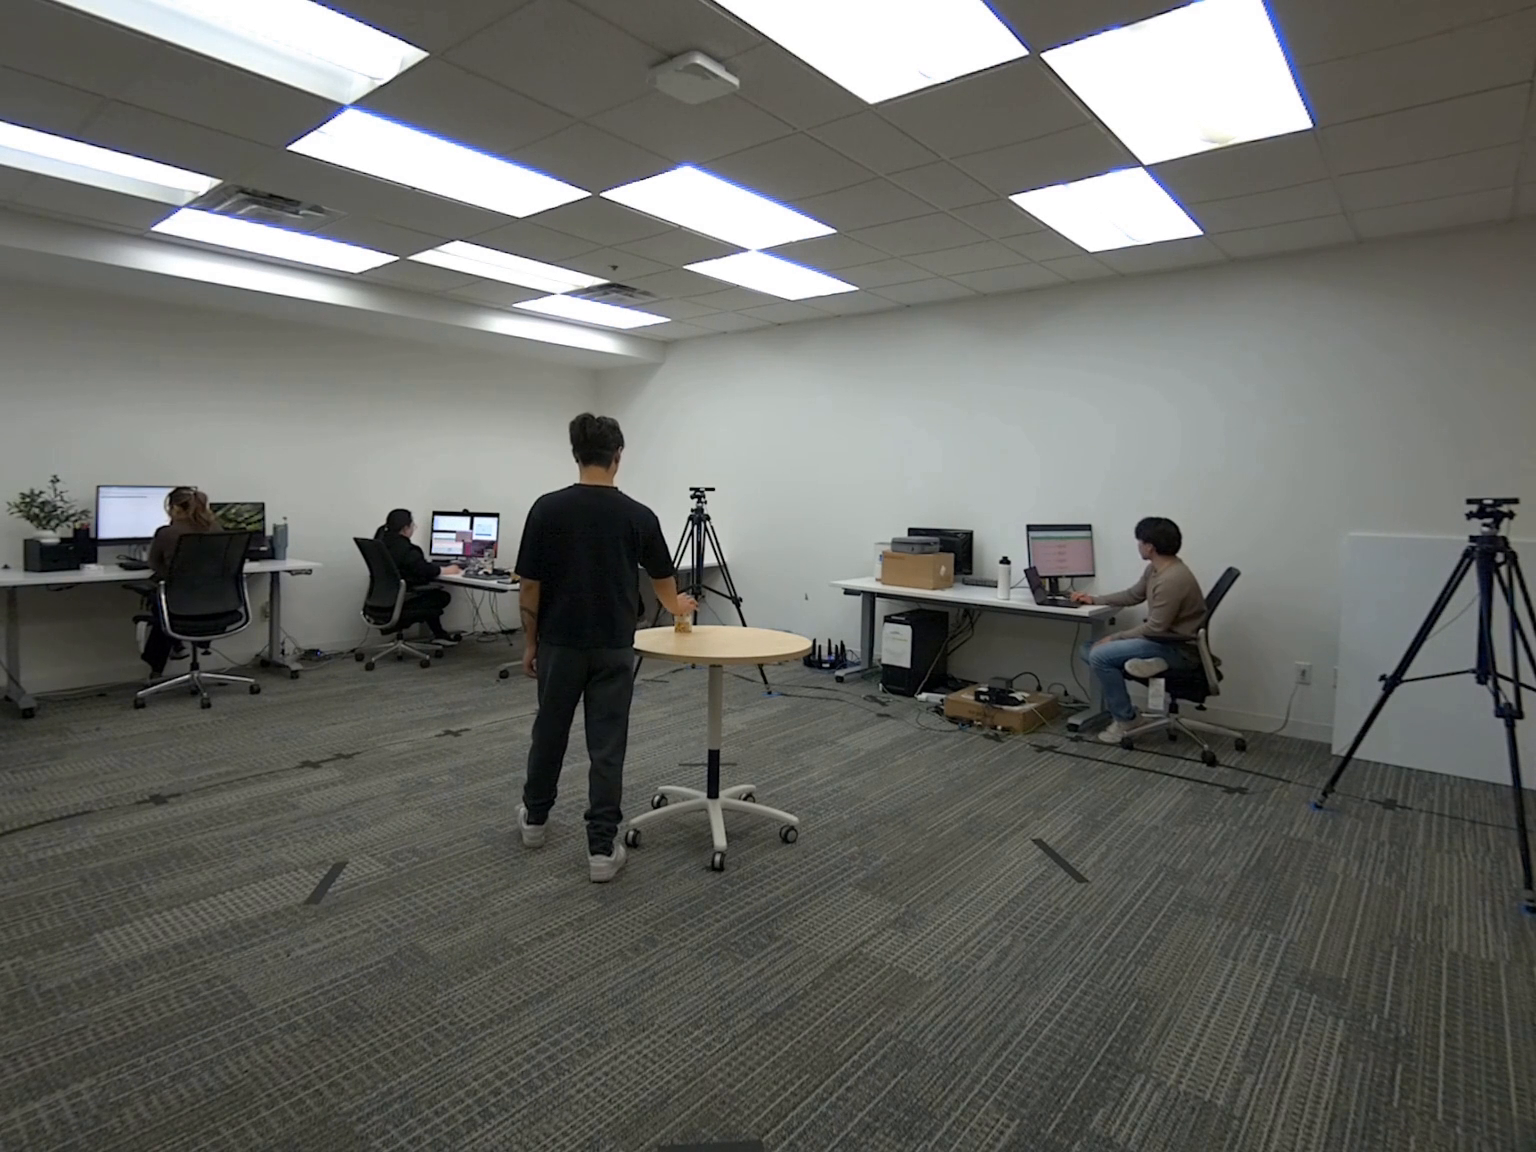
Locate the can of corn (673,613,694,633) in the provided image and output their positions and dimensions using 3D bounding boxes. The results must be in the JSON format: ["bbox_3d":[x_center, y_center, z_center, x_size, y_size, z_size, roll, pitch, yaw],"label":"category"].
[{"bbox_3d":[-0.372,0.177,3.611,0.074,0.110,0.074,1,5,-2],"label":"can of corn"}]
